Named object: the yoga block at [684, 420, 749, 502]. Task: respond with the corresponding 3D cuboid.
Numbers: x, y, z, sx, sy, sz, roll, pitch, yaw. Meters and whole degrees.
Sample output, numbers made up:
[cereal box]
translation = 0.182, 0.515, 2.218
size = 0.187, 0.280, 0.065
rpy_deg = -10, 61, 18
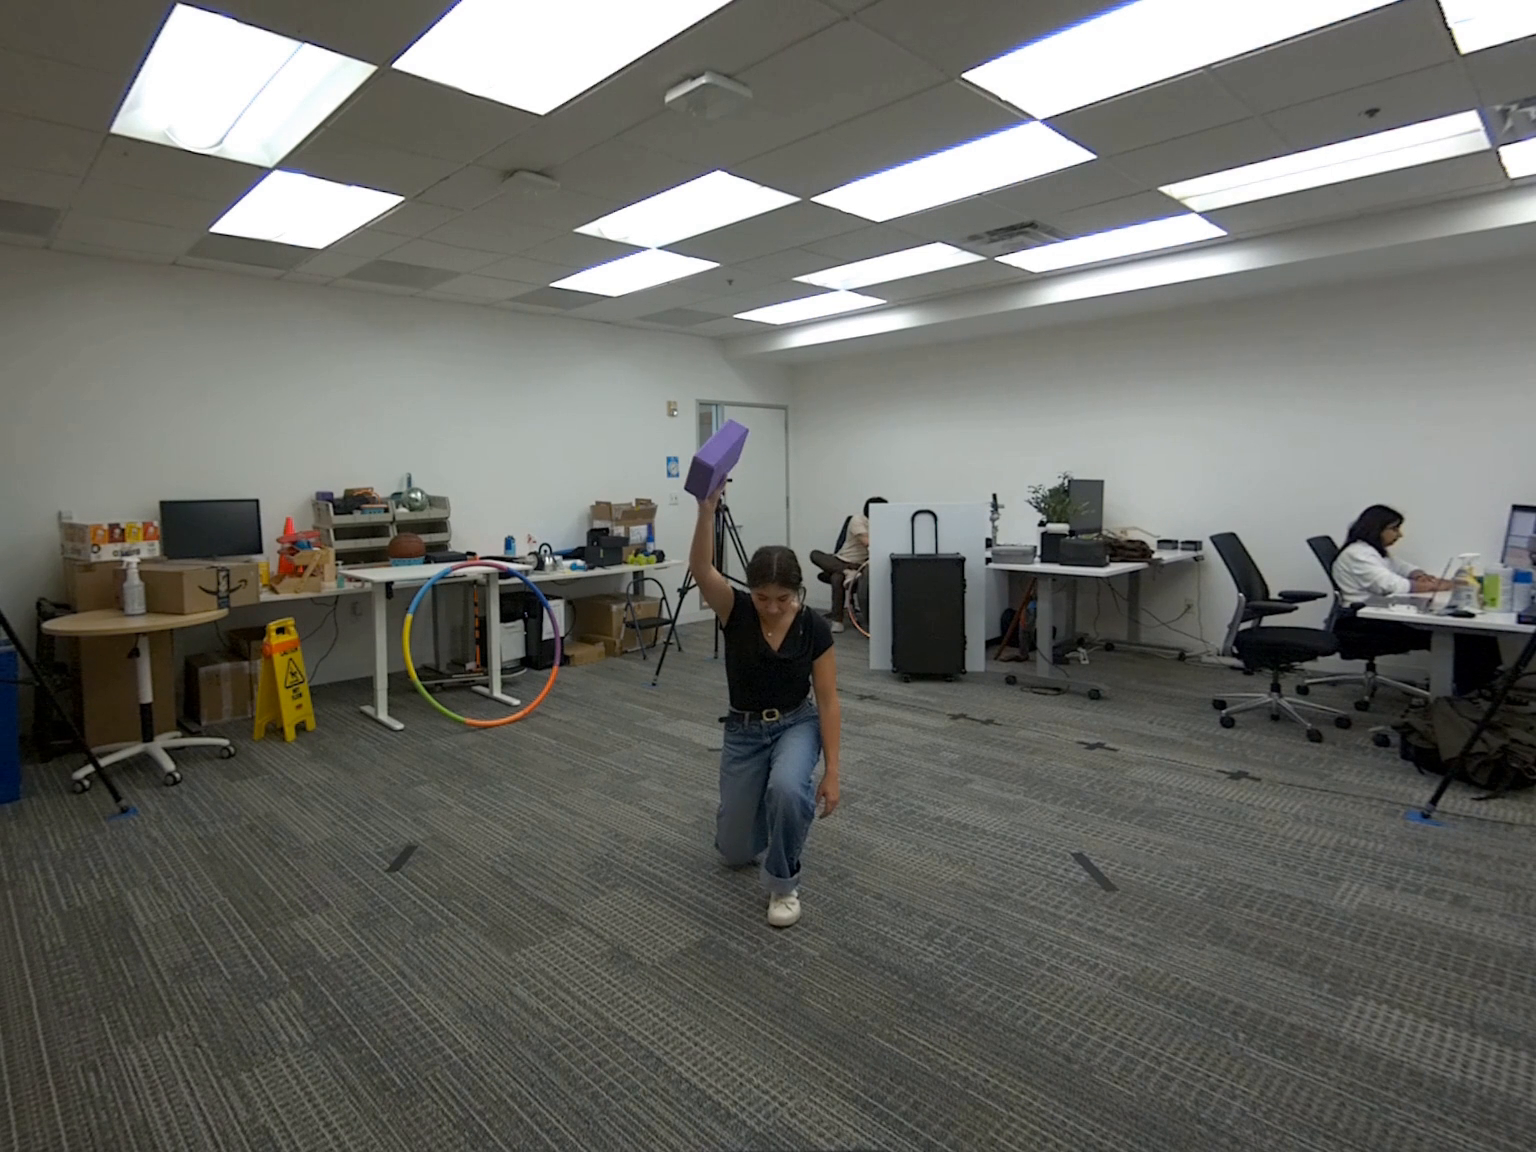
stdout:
[yoga block]
translation = -0.148, -0.344, 2.543
size = 0.077, 0.147, 0.230
rpy_deg = 30, 49, 6
